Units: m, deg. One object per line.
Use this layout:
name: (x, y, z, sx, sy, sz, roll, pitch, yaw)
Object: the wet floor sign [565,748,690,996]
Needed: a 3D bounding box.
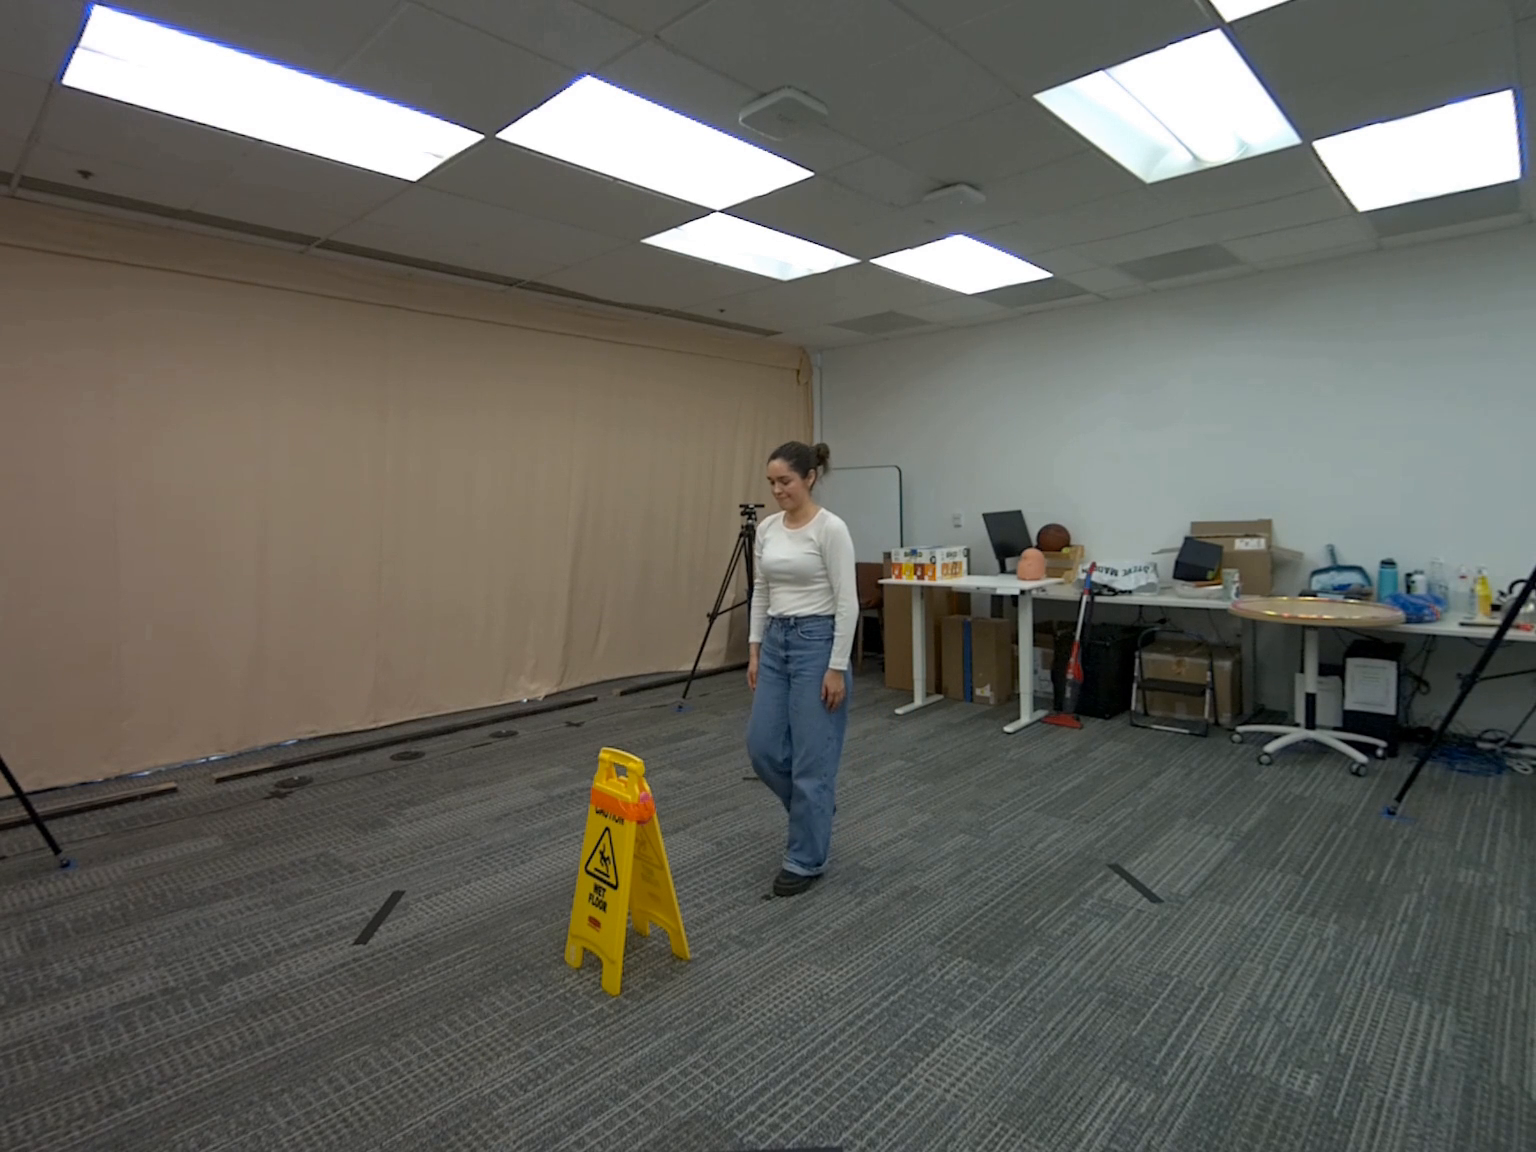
wet floor sign: (-0.439, 0.862, 2.565, 0.281, 0.645, 0.291, -5, 4, -44)
